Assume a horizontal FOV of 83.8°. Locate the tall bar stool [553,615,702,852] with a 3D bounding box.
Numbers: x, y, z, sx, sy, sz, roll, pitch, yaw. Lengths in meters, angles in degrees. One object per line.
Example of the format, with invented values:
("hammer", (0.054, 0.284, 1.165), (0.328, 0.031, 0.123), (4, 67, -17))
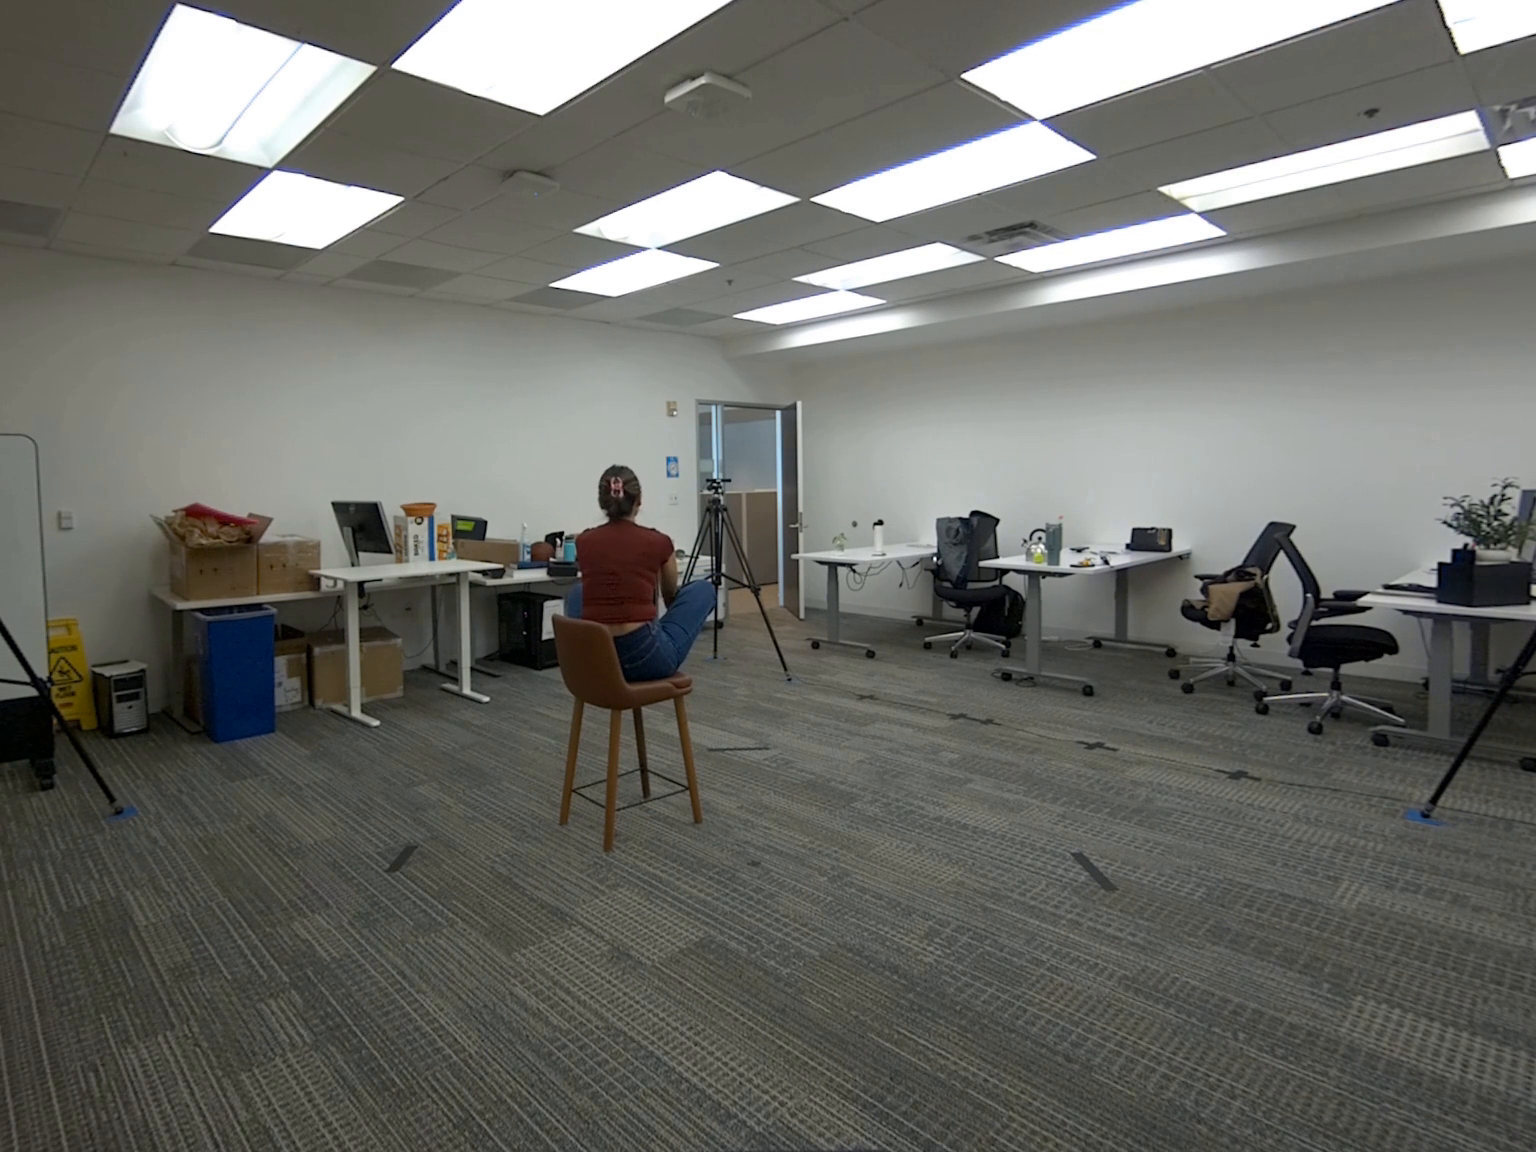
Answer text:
("tall bar stool", (-0.587, 0.581, 3.476), (0.456, 0.886, 0.470), (-7, 6, -40))
